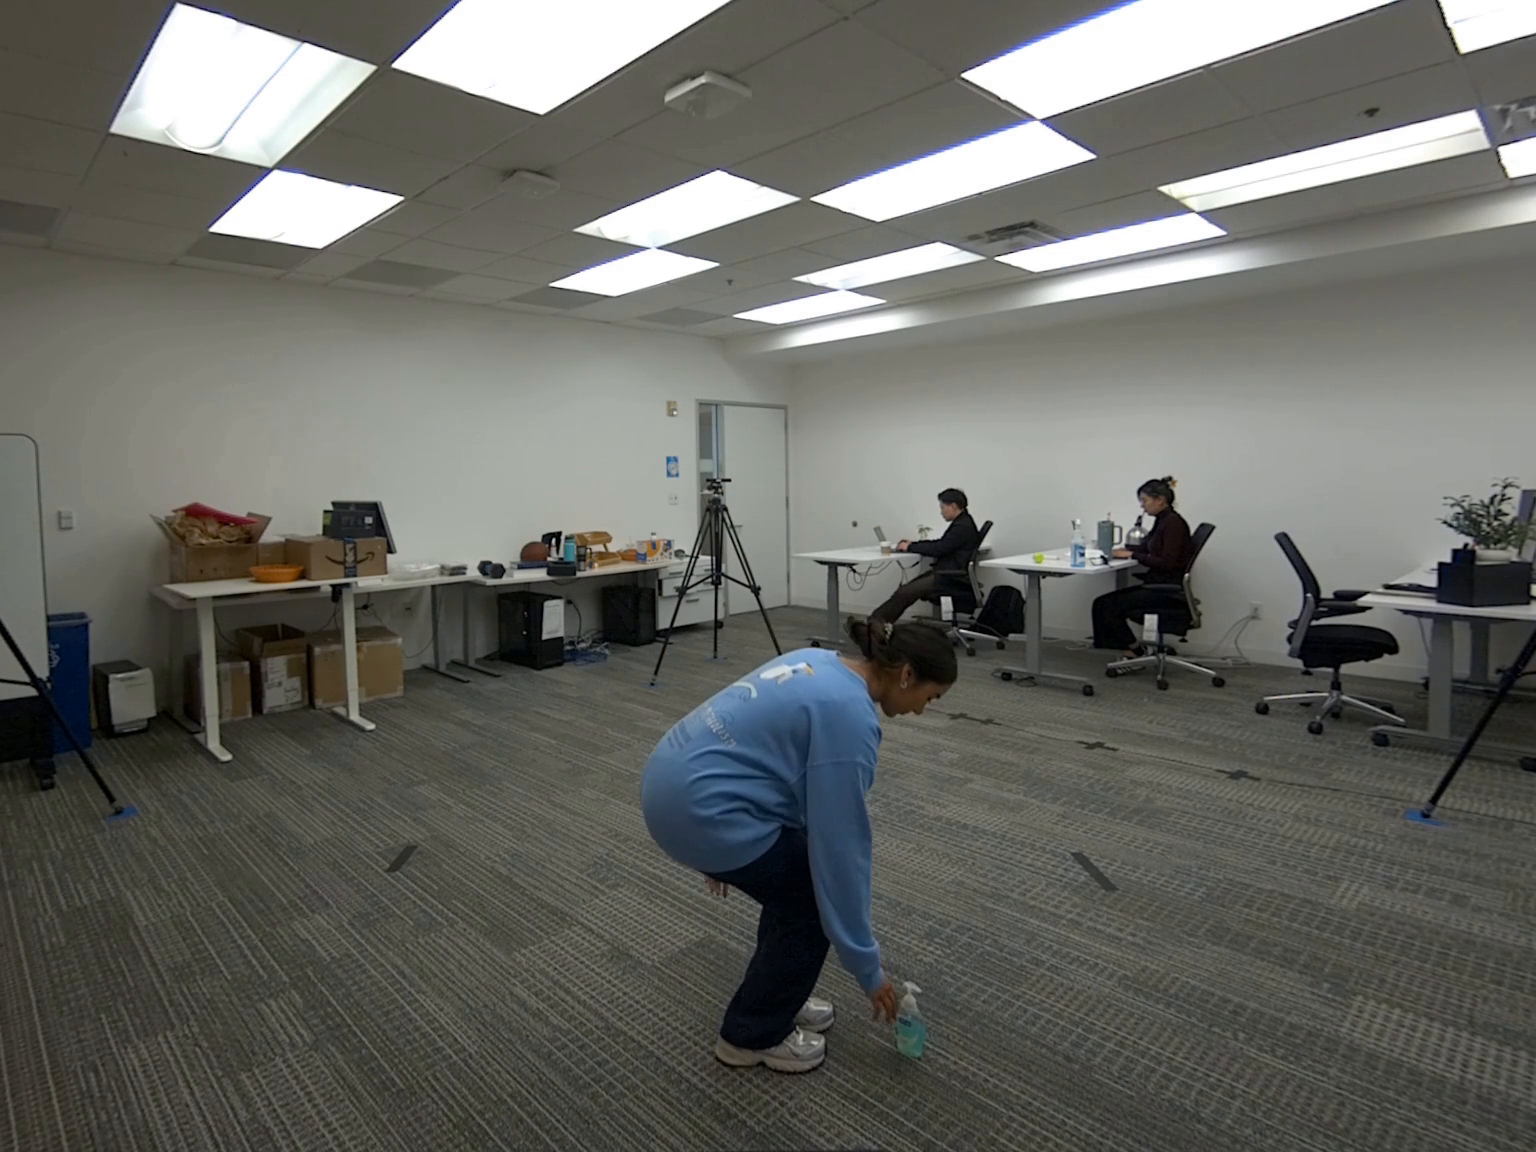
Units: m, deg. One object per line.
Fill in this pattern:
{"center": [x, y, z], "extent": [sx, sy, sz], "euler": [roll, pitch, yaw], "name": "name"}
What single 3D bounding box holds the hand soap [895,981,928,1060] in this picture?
{"center": [0.347, 1.069, 2.077], "extent": [0.087, 0.167, 0.042], "euler": [2, 7, 44], "name": "hand soap"}
